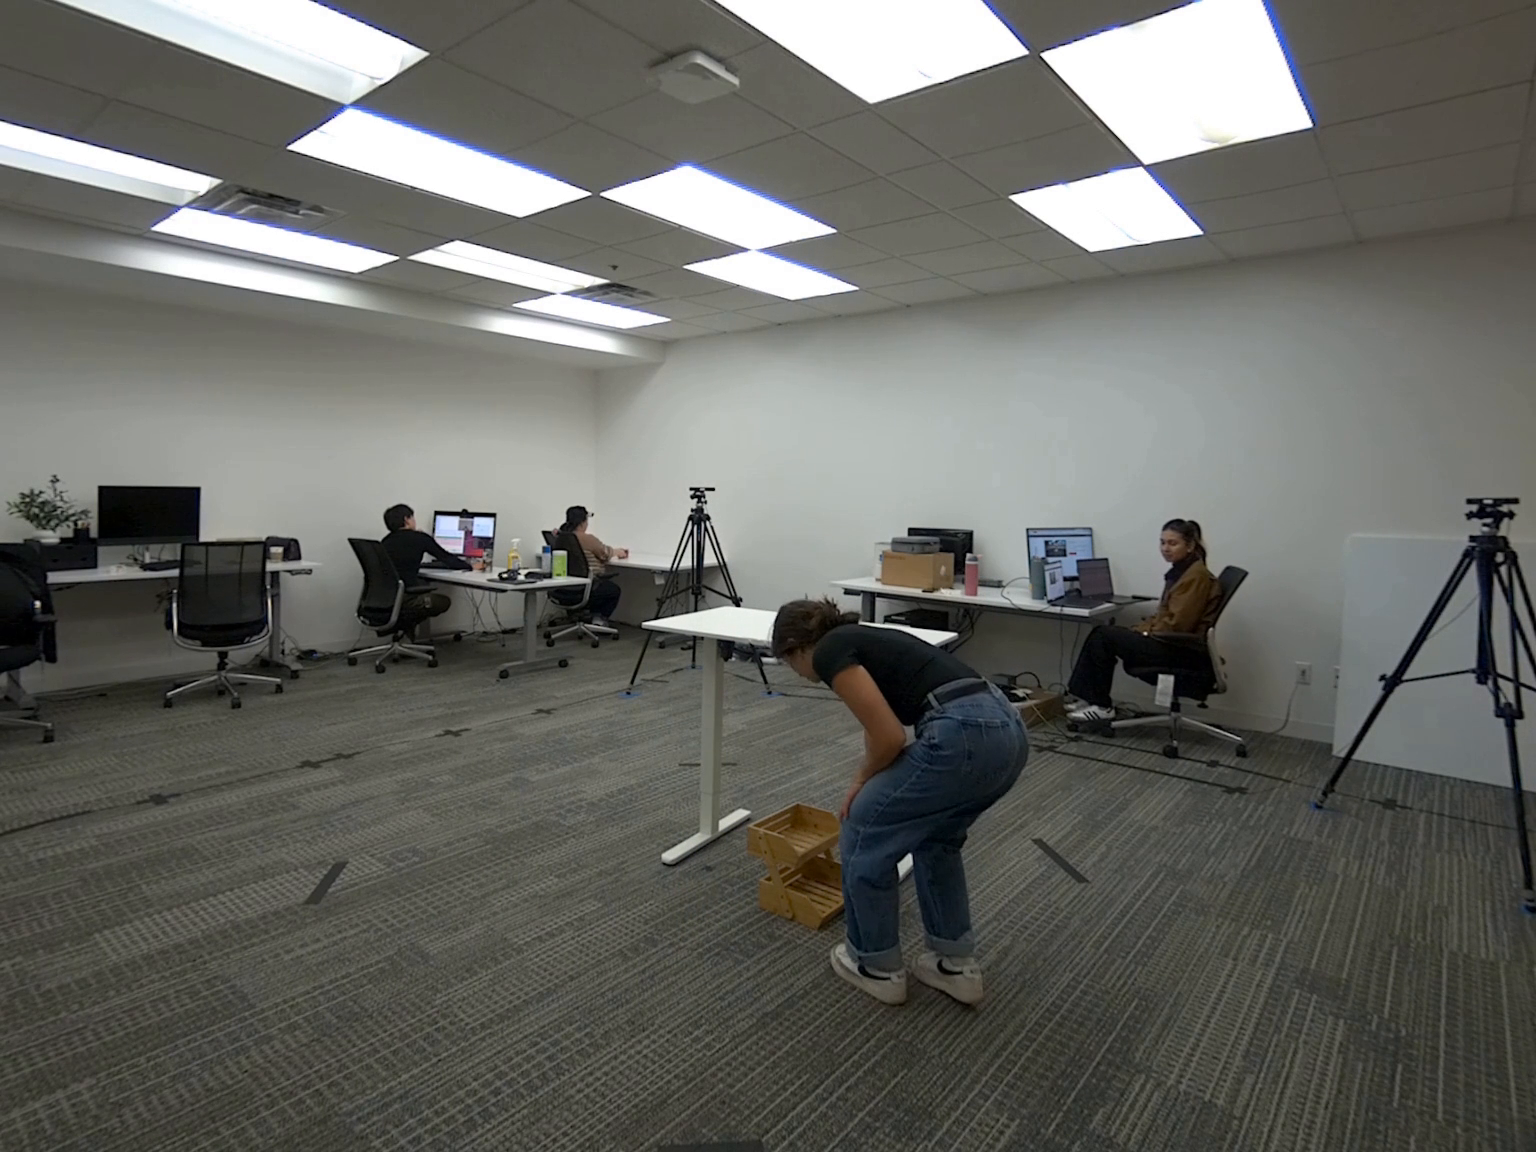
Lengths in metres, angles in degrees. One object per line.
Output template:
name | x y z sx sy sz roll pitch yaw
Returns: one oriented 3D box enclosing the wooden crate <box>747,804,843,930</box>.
wooden crate | 0.132 0.963 2.877 0.312 0.272 0.315 4 5 37
